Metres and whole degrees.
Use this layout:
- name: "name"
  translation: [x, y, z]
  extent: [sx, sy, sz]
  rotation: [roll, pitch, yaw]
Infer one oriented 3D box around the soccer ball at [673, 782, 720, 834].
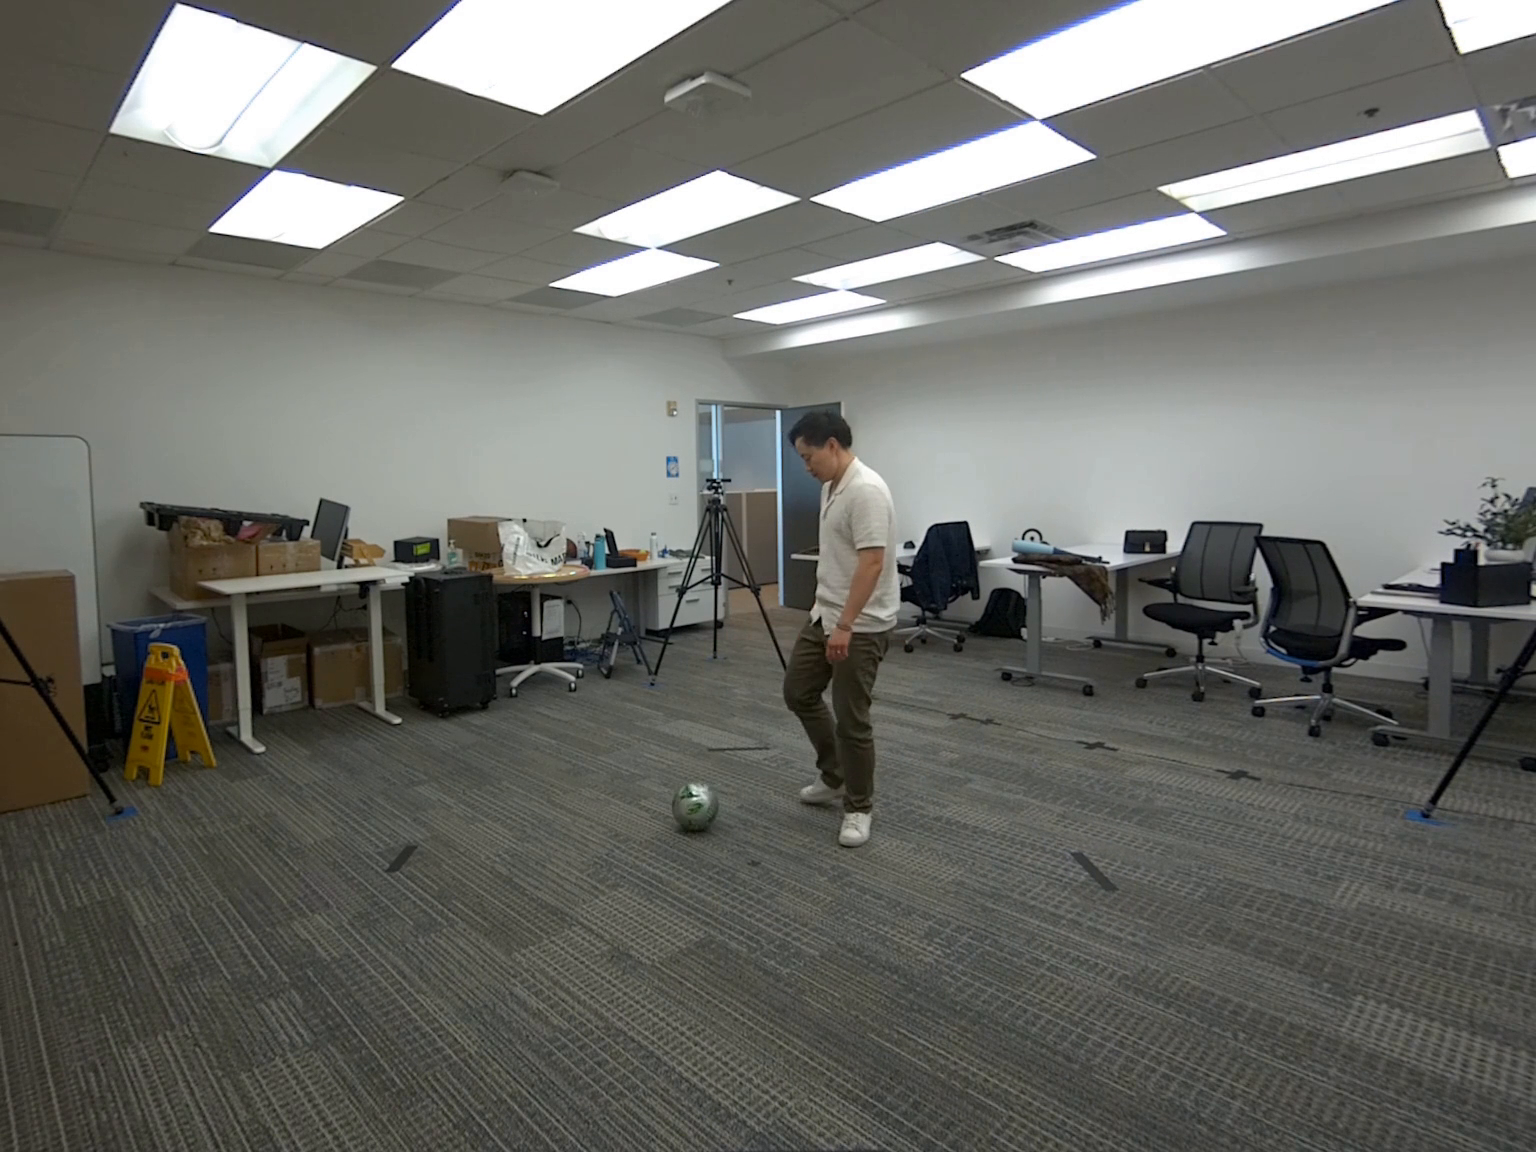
- name: "soccer ball"
  translation: [-0.292, 0.918, 3.412]
  extent: [0.187, 0.187, 0.188]
  rotation: [-1, 5, -2]
